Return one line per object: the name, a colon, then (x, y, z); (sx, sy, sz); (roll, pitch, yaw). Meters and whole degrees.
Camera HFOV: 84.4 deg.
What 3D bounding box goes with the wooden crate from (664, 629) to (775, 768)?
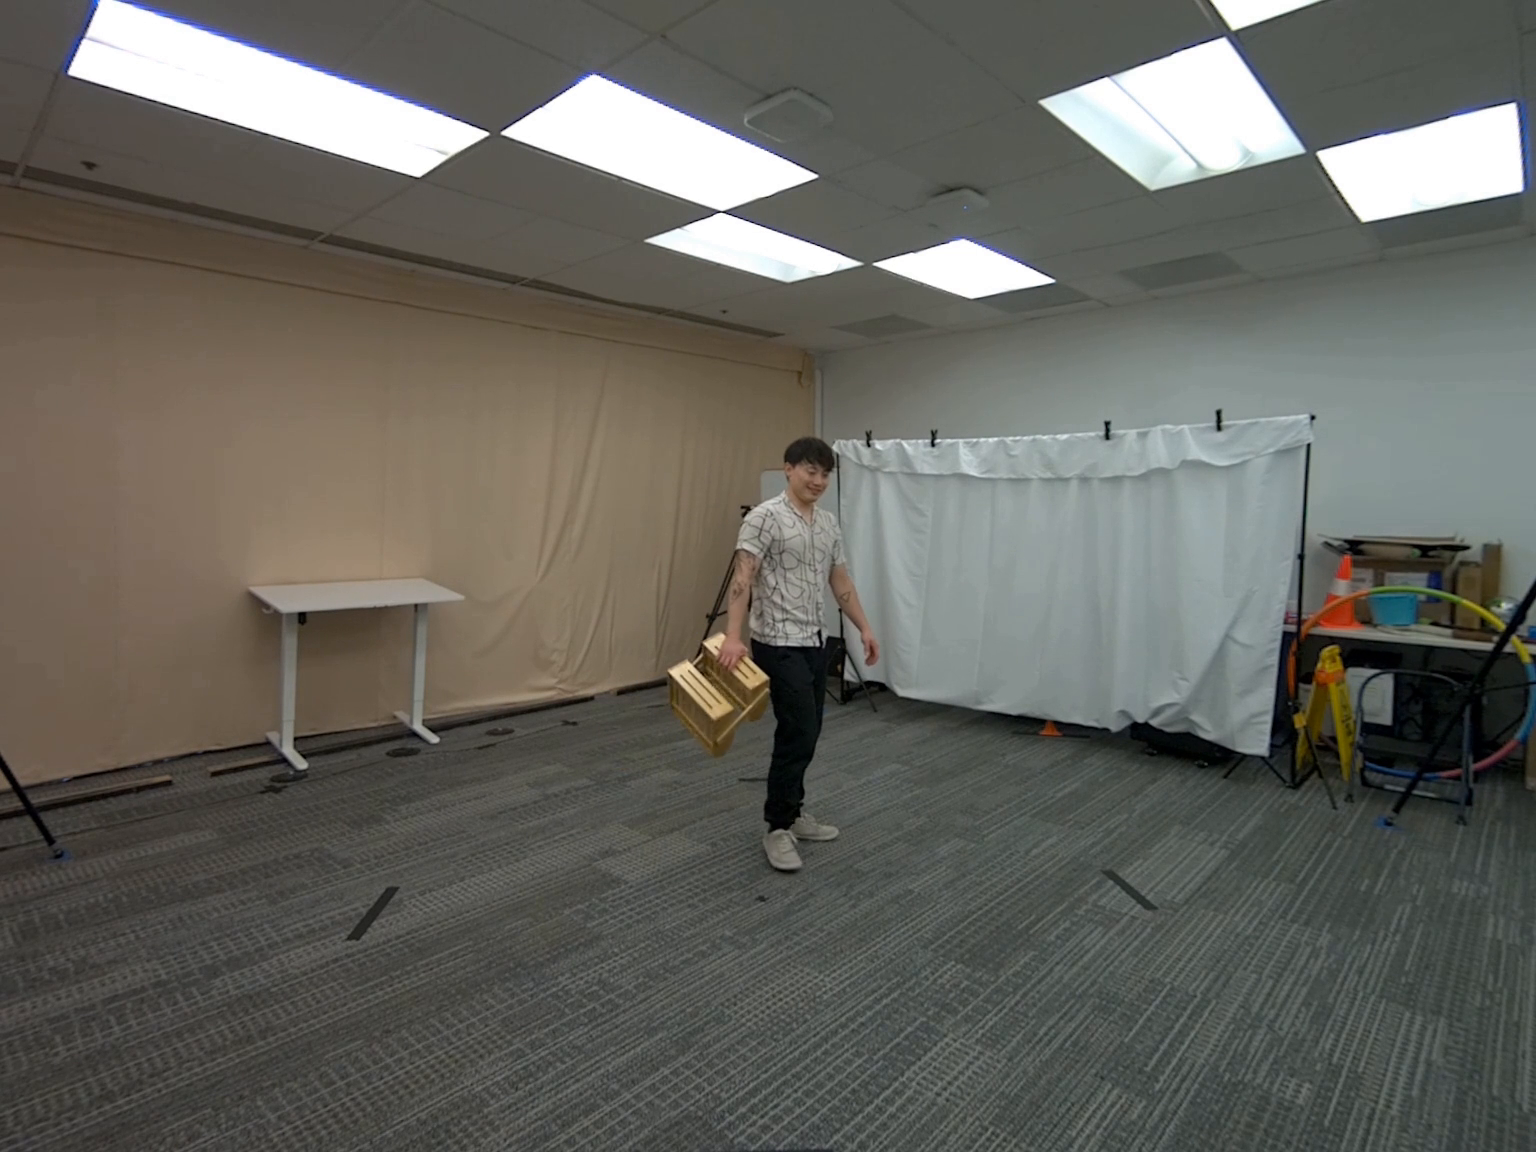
wooden crate: (-0.185, 0.463, 3.250); (0.269, 0.296, 0.336); (-28, 49, -29)
